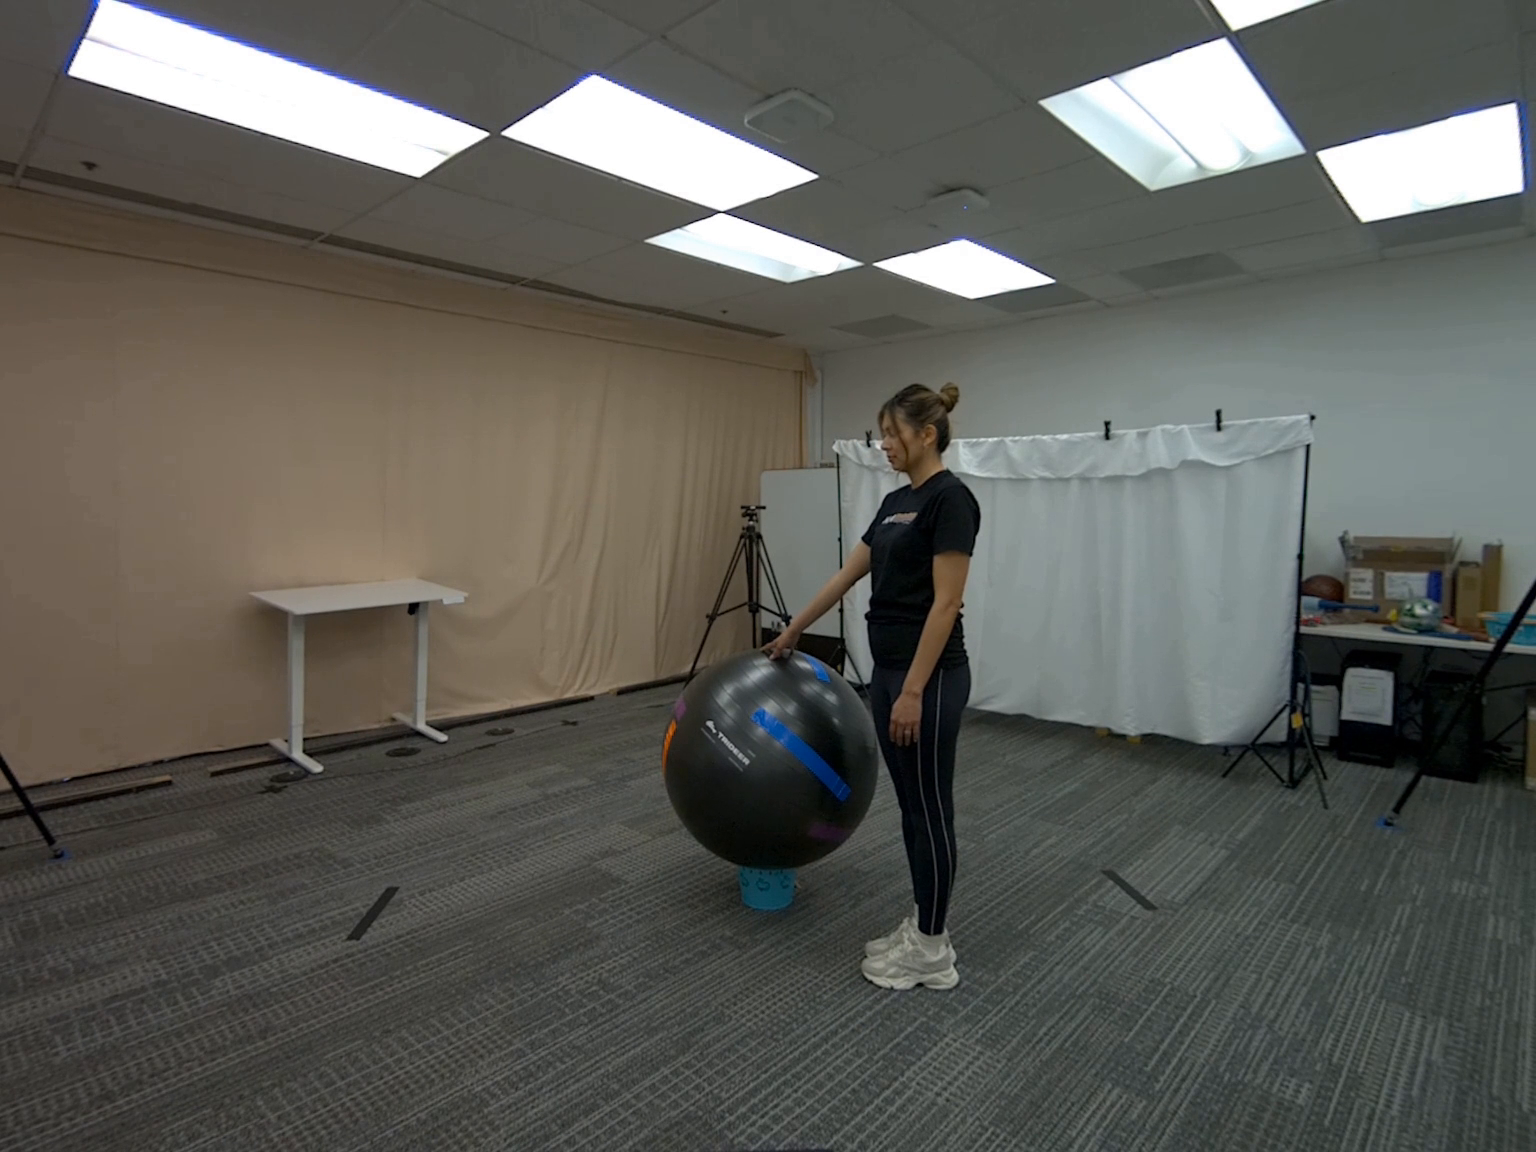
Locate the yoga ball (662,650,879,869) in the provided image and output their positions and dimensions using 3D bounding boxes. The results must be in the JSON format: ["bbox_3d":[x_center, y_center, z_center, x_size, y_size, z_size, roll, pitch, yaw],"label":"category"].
[{"bbox_3d":[0.010,0.641,2.964,0.757,0.756,0.760,0,4,-2],"label":"yoga ball"}]
